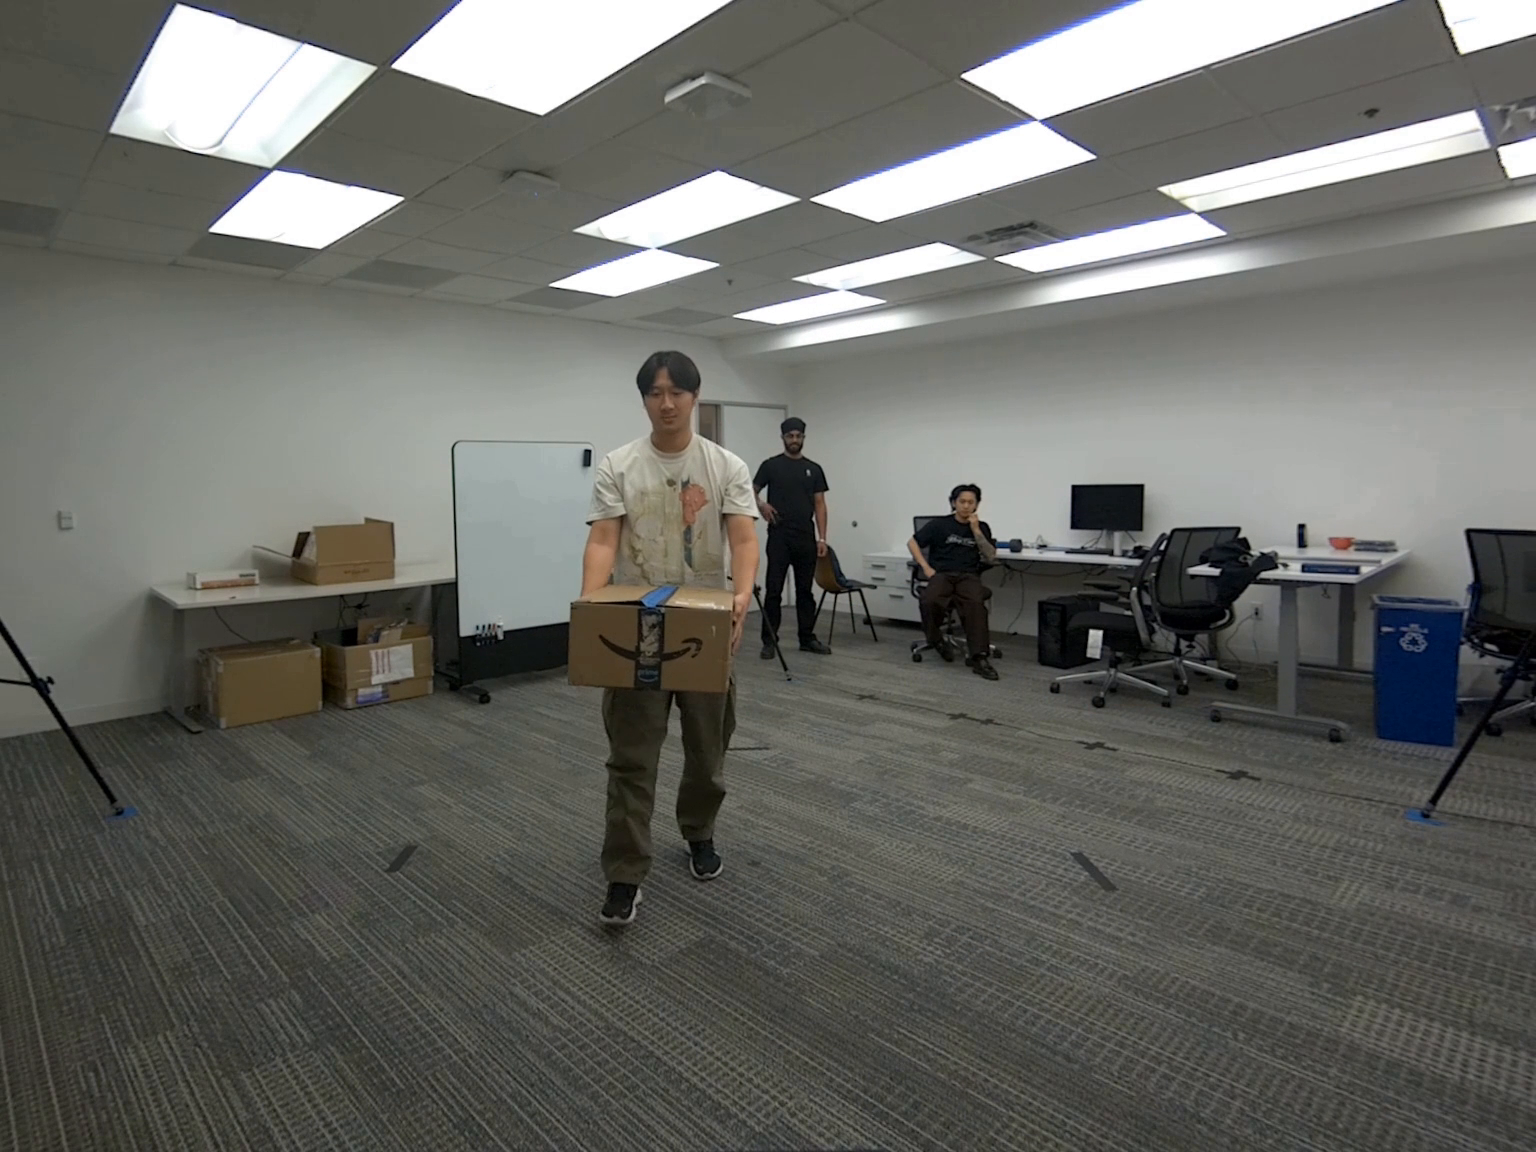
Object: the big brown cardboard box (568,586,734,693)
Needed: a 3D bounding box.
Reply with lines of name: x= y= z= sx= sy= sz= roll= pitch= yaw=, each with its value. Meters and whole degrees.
big brown cardboard box: x=-0.317 y=0.162 z=2.449 sx=0.417 sy=0.233 sz=0.590 roll=1 pitch=3 yaw=-2
